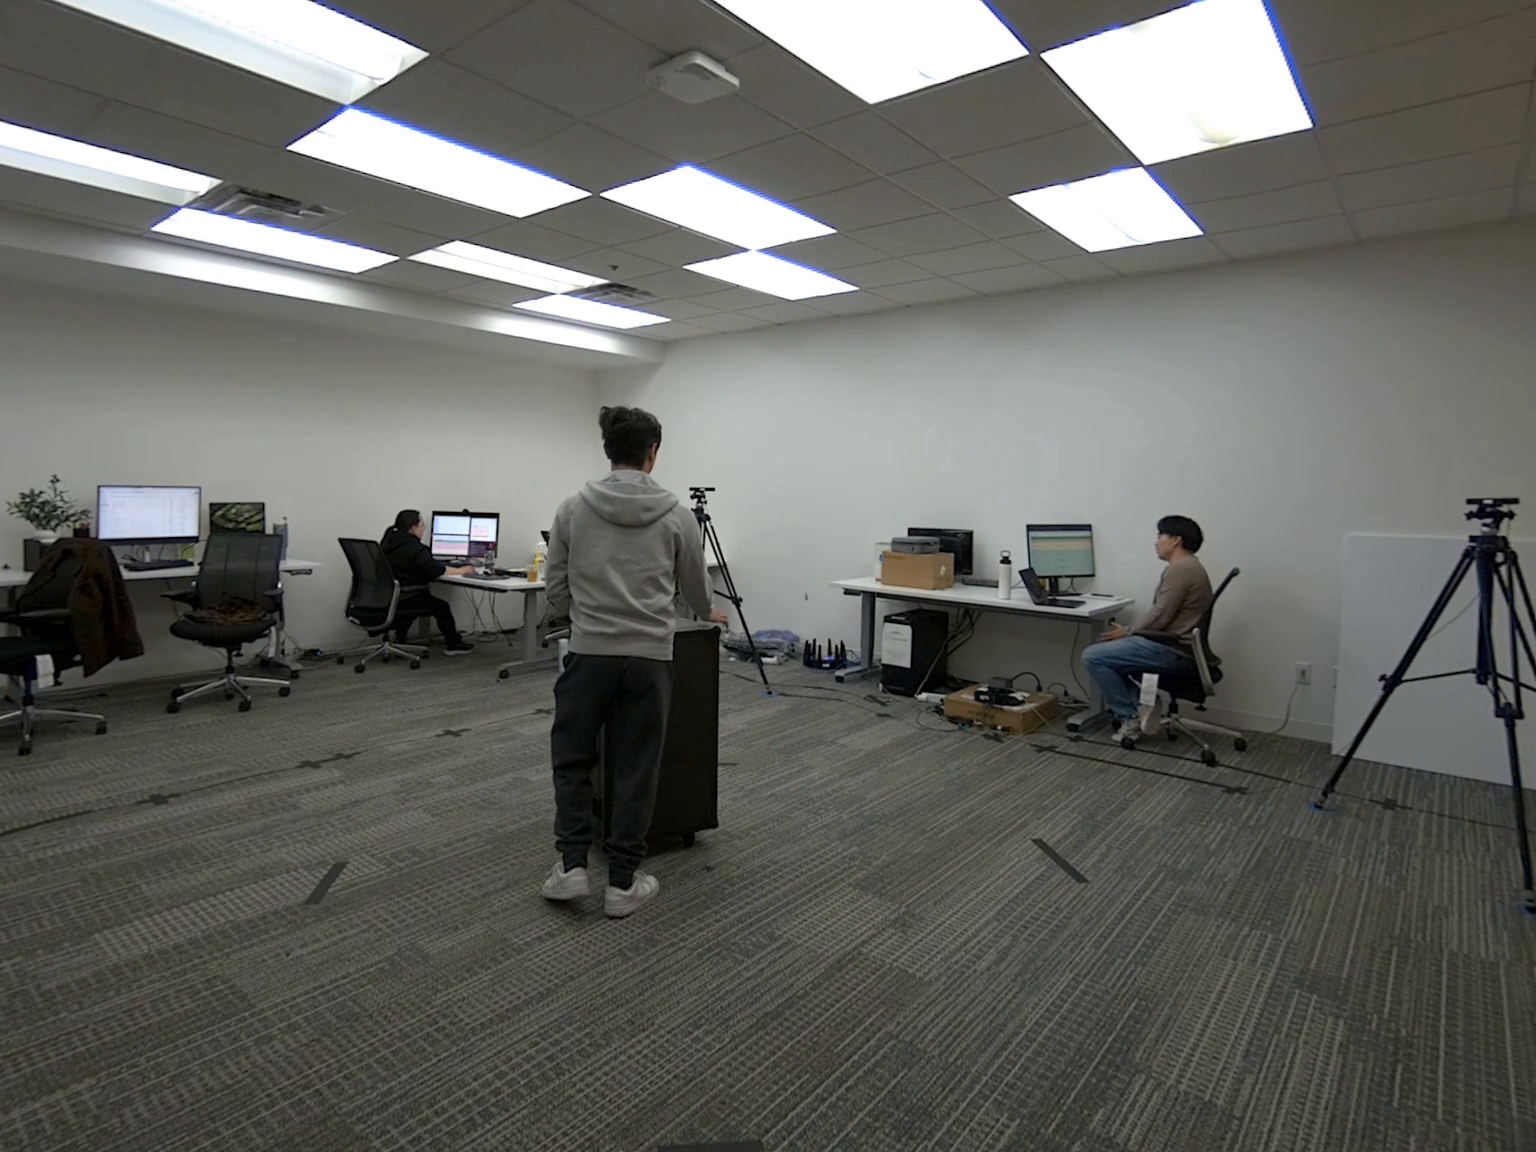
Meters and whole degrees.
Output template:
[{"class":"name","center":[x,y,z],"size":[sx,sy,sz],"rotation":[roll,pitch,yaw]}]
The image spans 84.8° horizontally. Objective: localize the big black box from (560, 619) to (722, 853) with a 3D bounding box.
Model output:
[{"class":"big black box","center":[-0.506,0.614,3.328],"size":[0.506,0.860,0.408],"rotation":[-1,3,-34]}]
